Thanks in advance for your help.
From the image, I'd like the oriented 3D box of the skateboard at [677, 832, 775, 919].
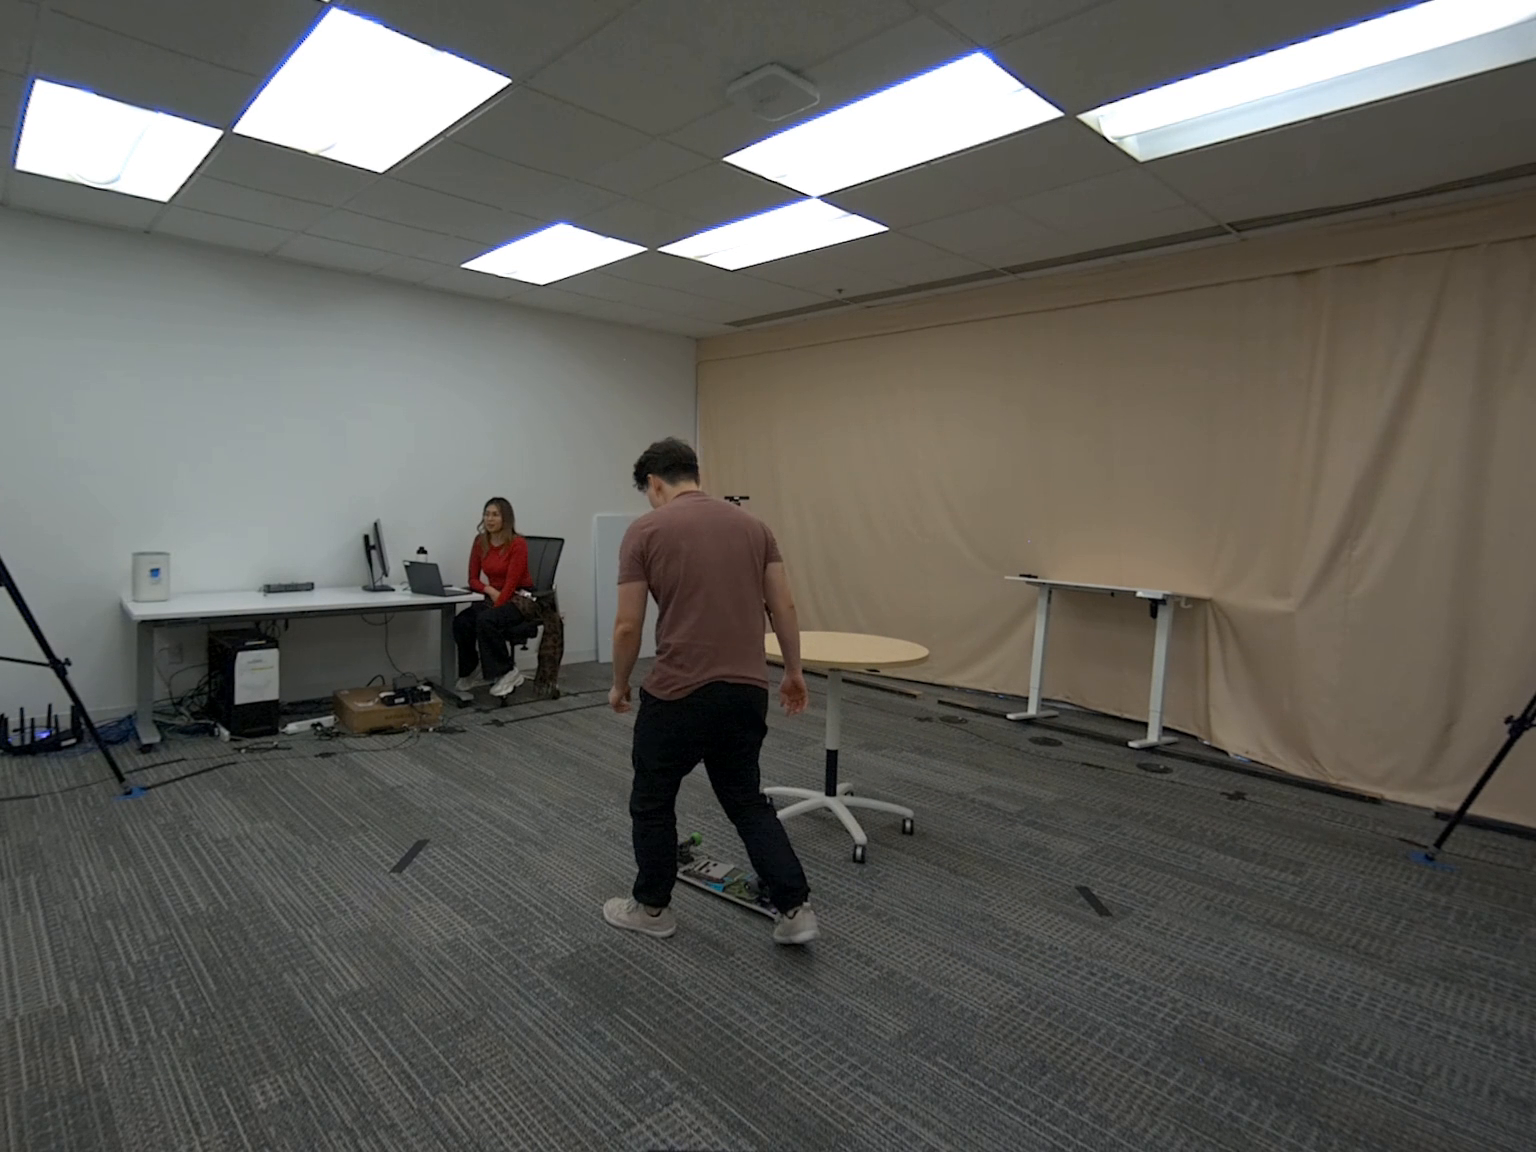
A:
[{"bbox_3d":[-0.174,1.058,3.028,0.805,0.110,0.189,6,7,40],"label":"skateboard"}]
